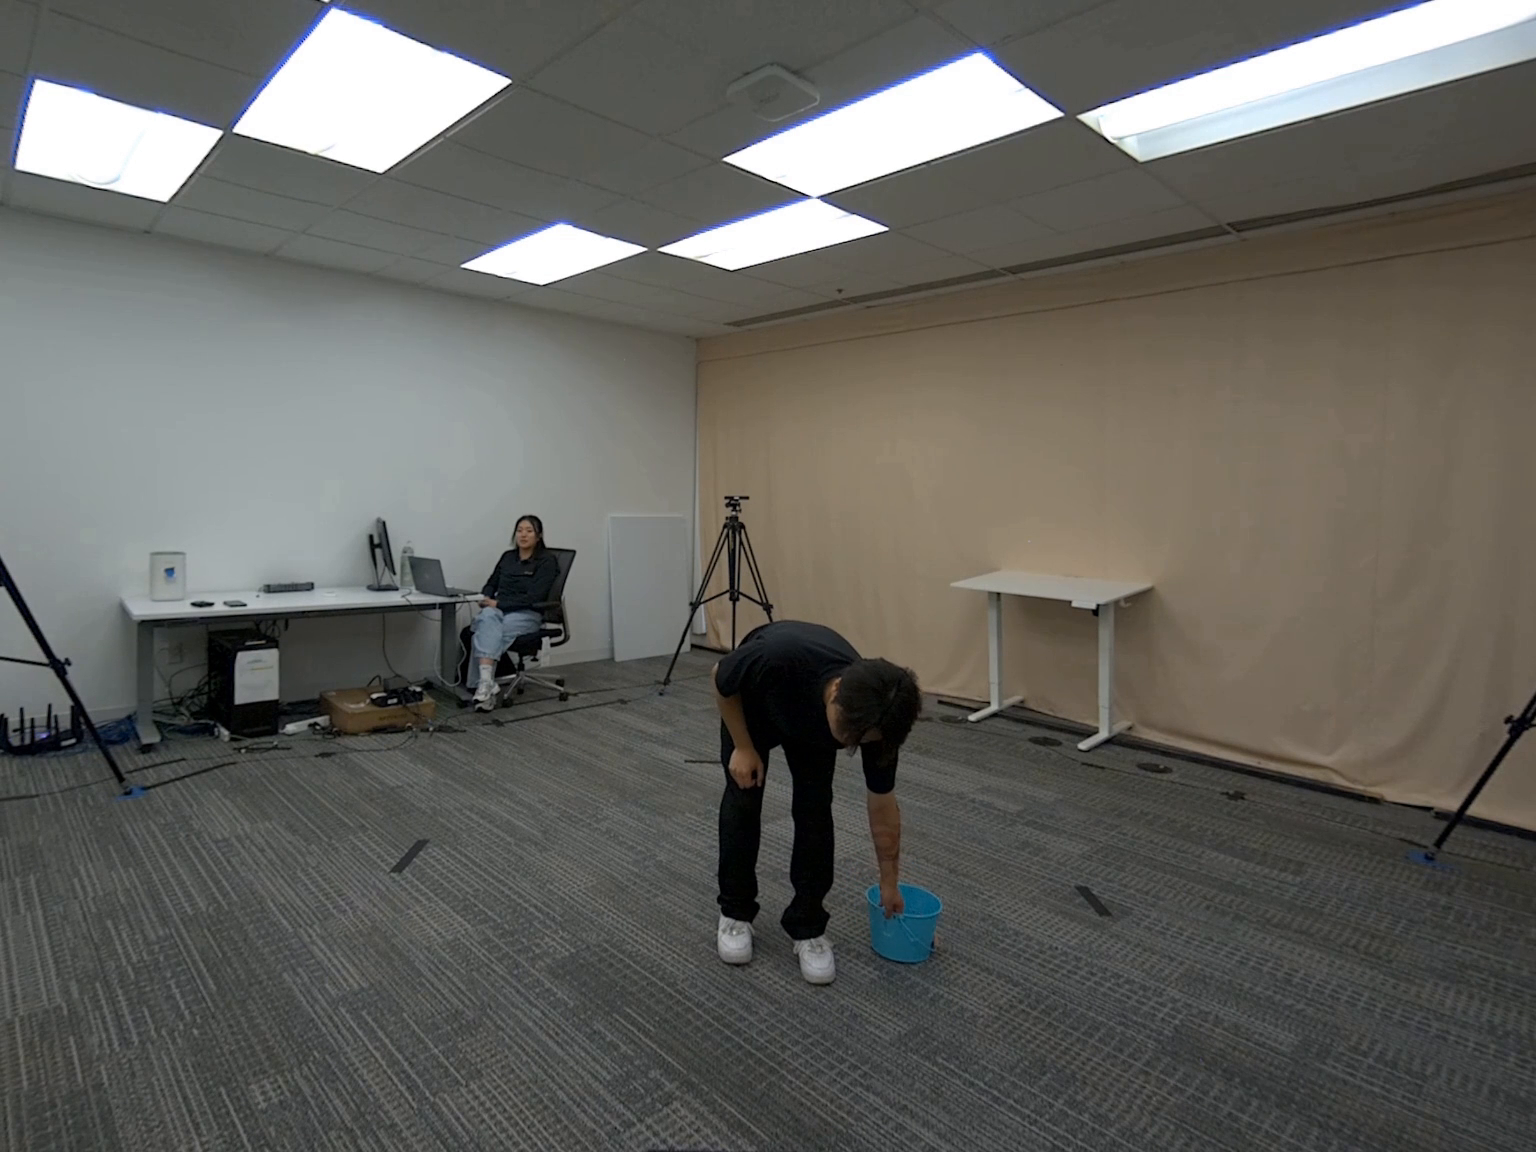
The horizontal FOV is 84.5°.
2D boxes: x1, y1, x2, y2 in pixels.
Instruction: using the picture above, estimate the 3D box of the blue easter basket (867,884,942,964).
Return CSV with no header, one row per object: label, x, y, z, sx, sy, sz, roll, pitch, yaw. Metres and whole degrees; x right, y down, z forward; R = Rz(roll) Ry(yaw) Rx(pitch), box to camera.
blue easter basket,0.410,1.081,2.623,0.243,0.155,0.244,4,3,-2
